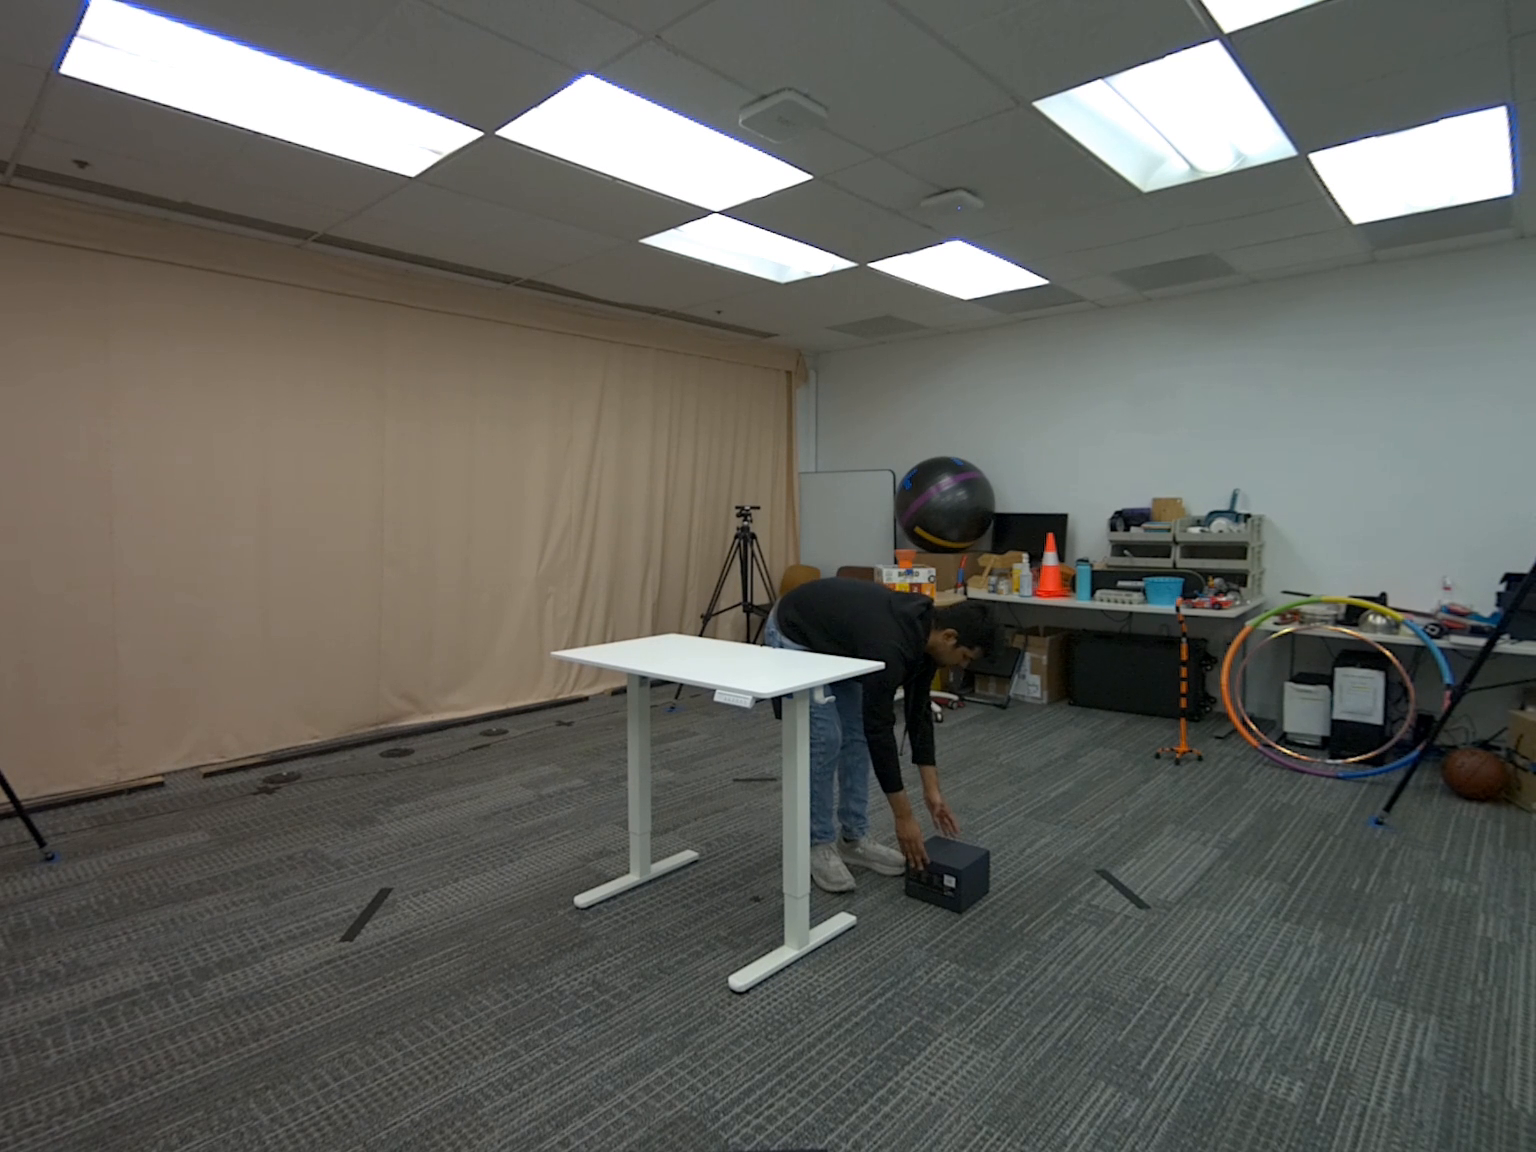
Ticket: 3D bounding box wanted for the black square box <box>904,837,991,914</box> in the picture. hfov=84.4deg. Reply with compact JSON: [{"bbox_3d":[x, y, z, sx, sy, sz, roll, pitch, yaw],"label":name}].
[{"bbox_3d":[0.643,1.052,3.006,0.224,0.155,0.221,3,4,39],"label":"black square box"}]
